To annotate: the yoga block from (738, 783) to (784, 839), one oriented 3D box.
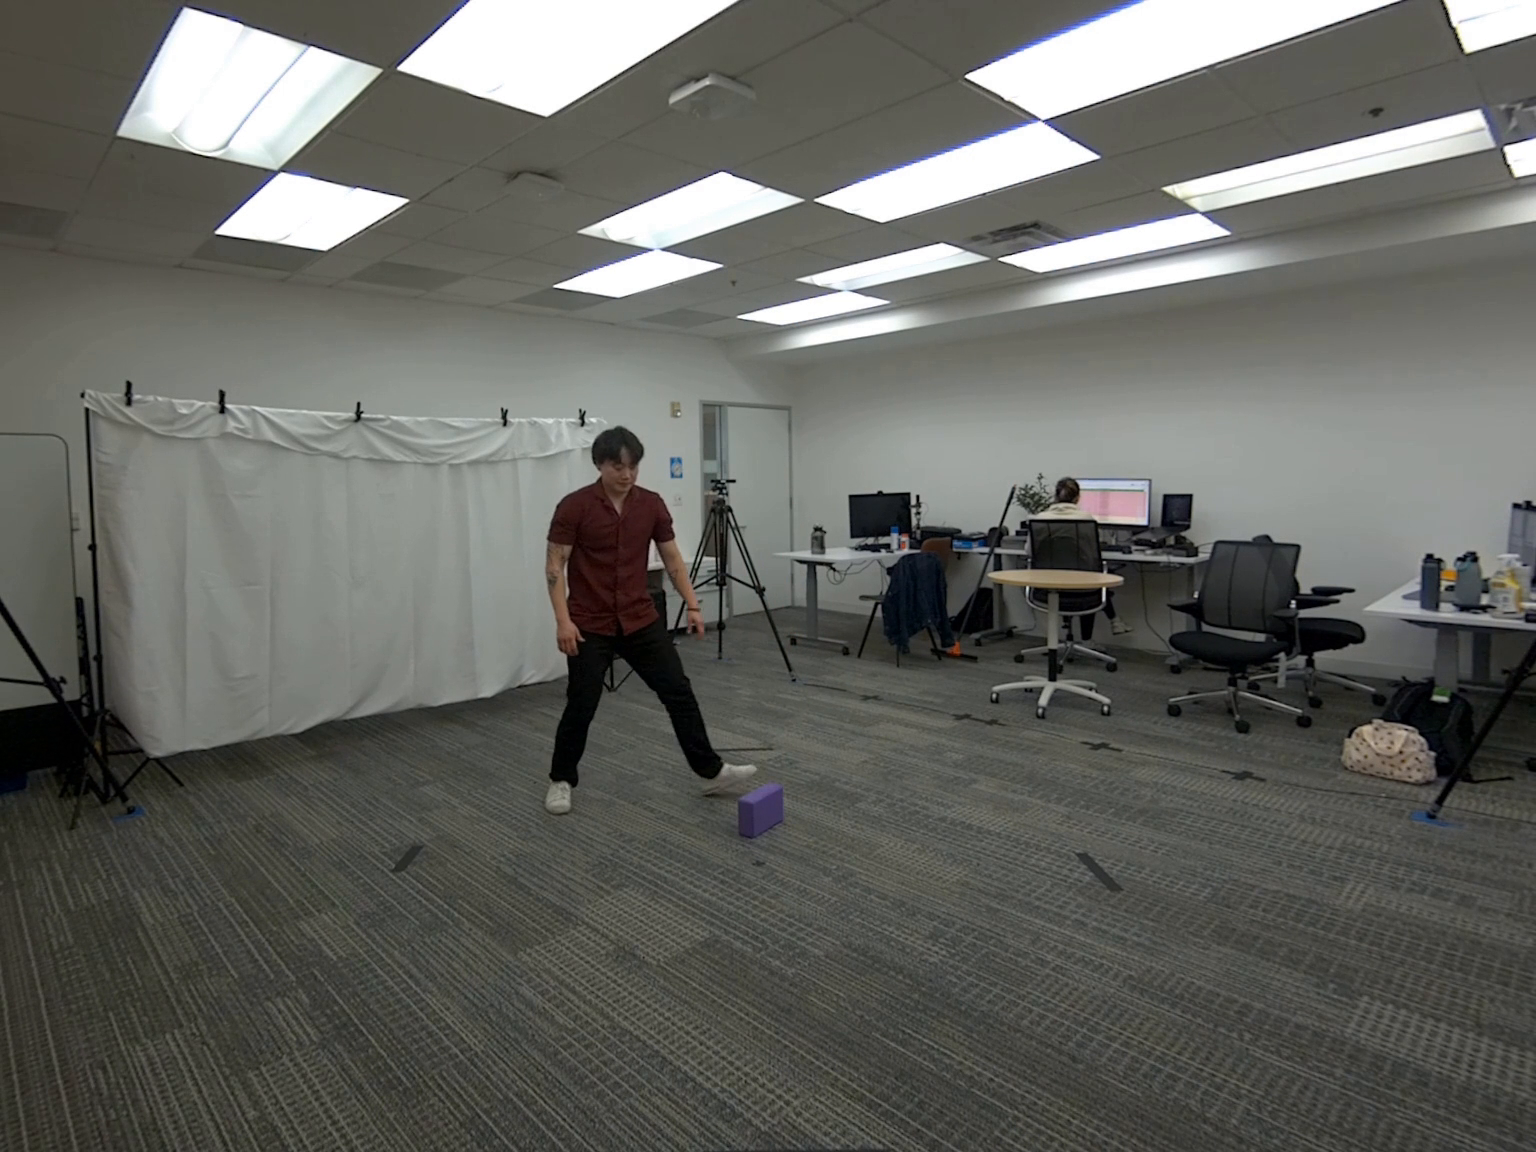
[{"bbox_3d":[-0.027,0.934,3.428,0.078,0.148,0.224,1,5,34],"label":"yoga block"}]
